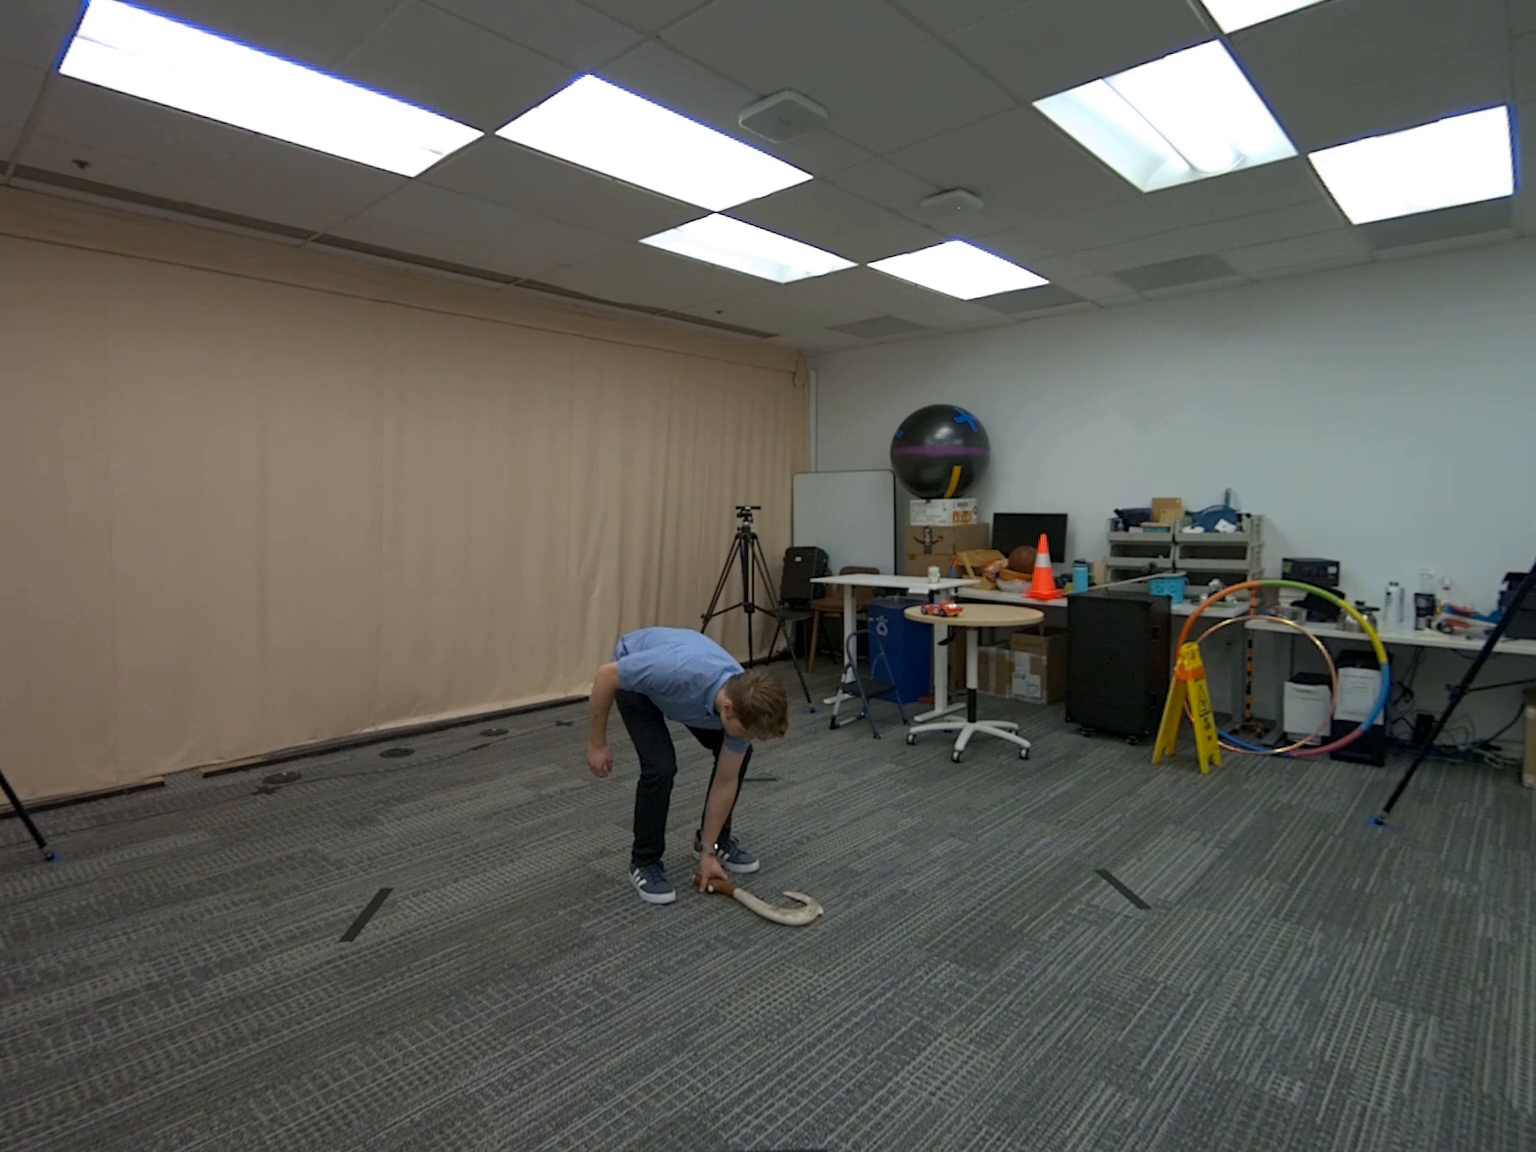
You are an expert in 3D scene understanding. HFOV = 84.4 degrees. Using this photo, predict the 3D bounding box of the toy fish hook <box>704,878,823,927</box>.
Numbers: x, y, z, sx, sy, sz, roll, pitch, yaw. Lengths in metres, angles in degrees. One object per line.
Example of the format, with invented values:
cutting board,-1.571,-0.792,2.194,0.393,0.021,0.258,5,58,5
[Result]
toy fish hook,-0.041,1.127,2.982,0.523,0.048,0.217,5,-2,38
